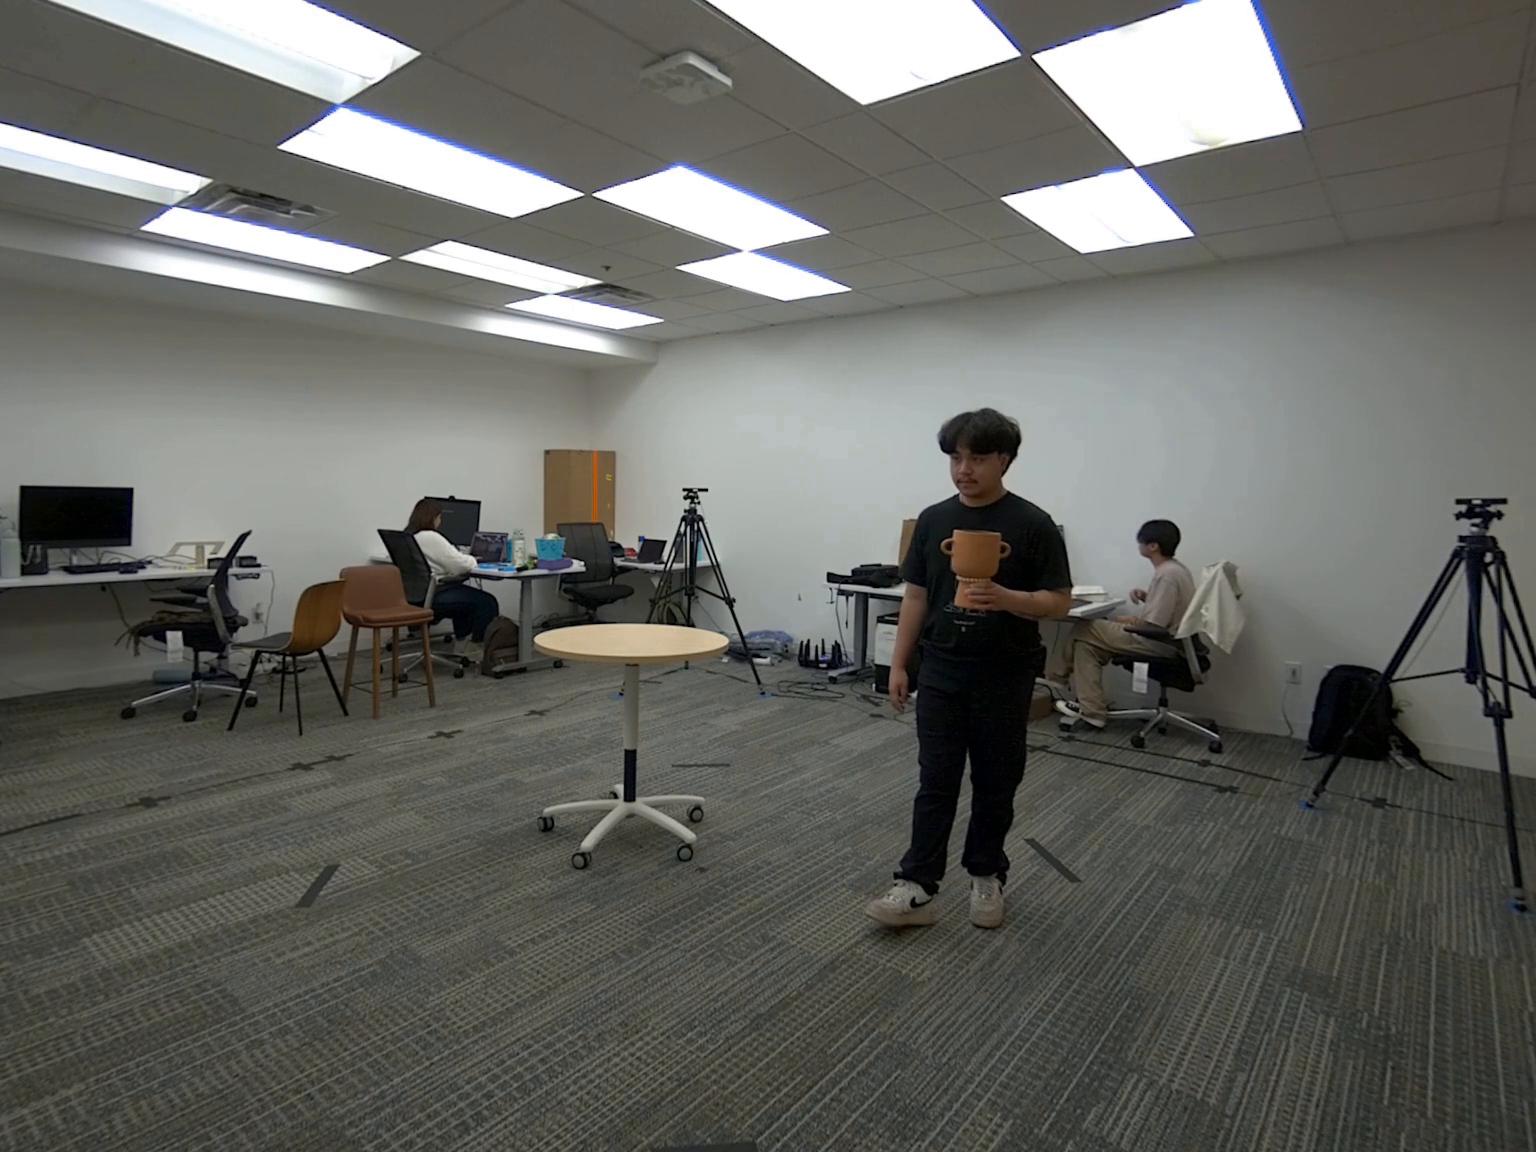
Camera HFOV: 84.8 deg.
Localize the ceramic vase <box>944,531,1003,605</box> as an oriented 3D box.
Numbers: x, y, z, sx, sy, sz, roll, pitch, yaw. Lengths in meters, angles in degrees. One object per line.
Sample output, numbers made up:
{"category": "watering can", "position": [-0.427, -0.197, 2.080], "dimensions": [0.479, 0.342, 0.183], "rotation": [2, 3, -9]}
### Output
{"category": "ceramic vase", "position": [0.613, -0.021, 2.492], "dimensions": [0.164, 0.219, 0.130], "rotation": [6, 6, 44]}
